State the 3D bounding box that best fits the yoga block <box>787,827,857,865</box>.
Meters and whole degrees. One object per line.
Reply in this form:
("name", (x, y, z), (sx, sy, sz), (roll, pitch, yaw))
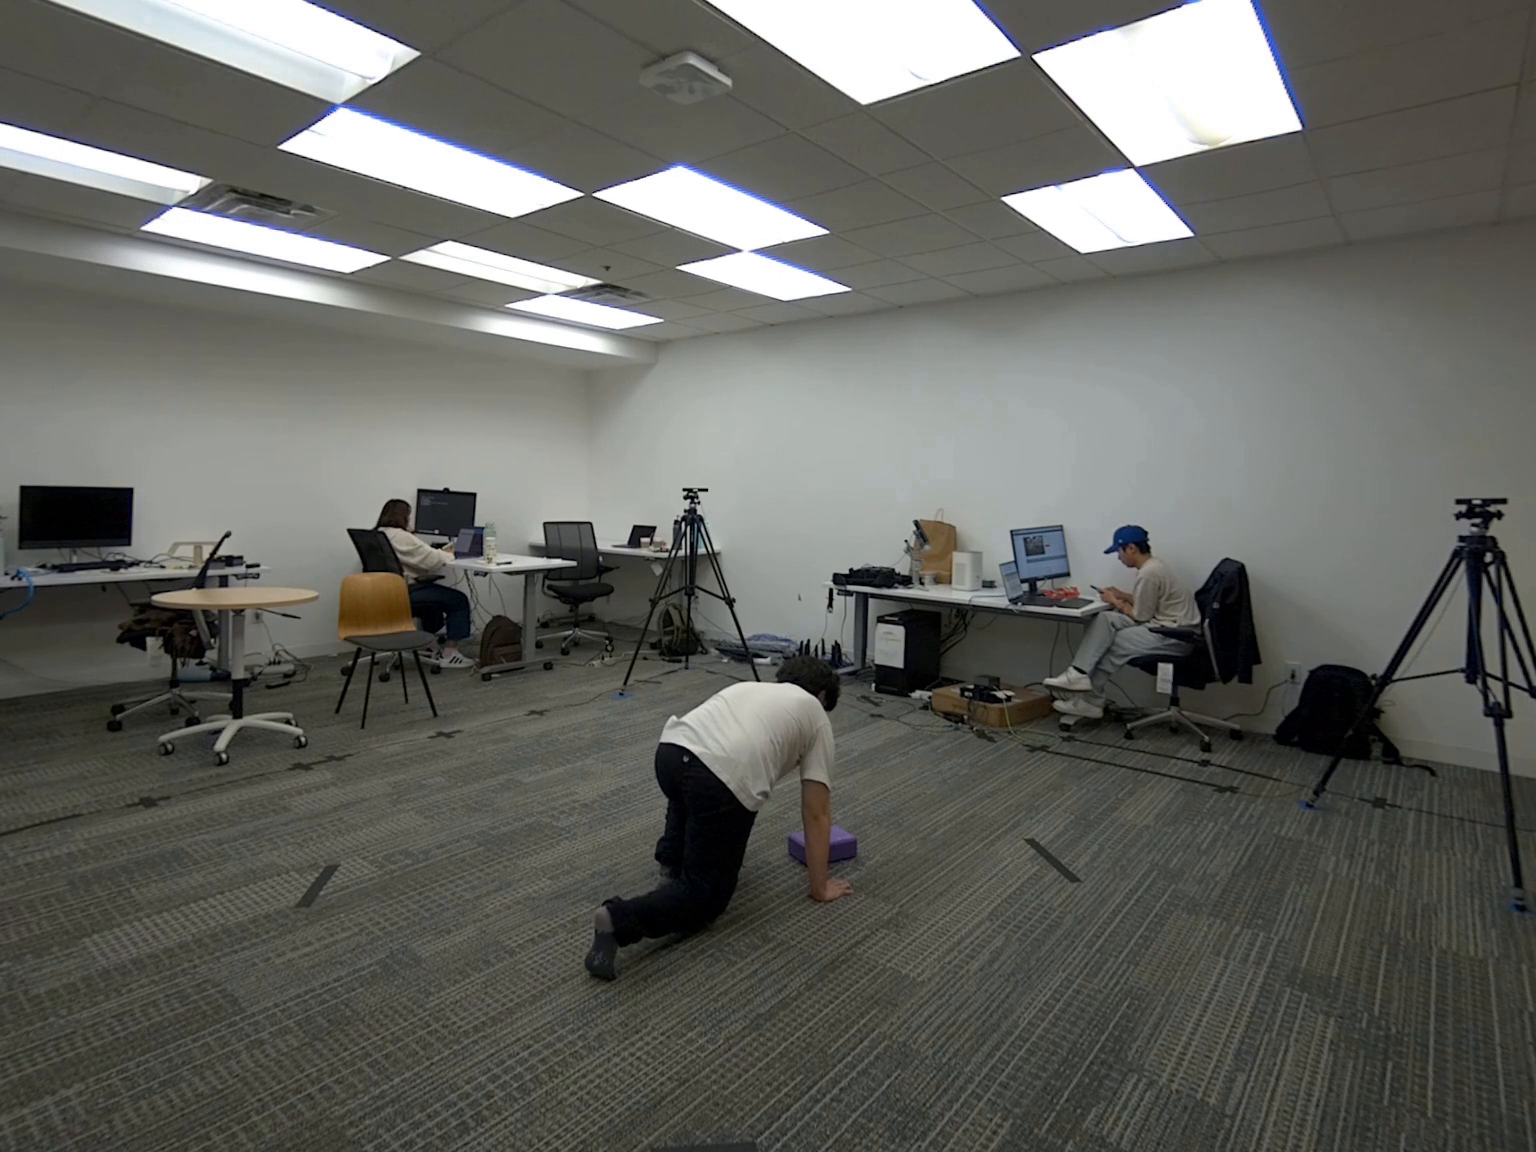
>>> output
("yoga block", (0.200, 1.029, 3.243), (0.223, 0.076, 0.153), (-1, 5, -29))
